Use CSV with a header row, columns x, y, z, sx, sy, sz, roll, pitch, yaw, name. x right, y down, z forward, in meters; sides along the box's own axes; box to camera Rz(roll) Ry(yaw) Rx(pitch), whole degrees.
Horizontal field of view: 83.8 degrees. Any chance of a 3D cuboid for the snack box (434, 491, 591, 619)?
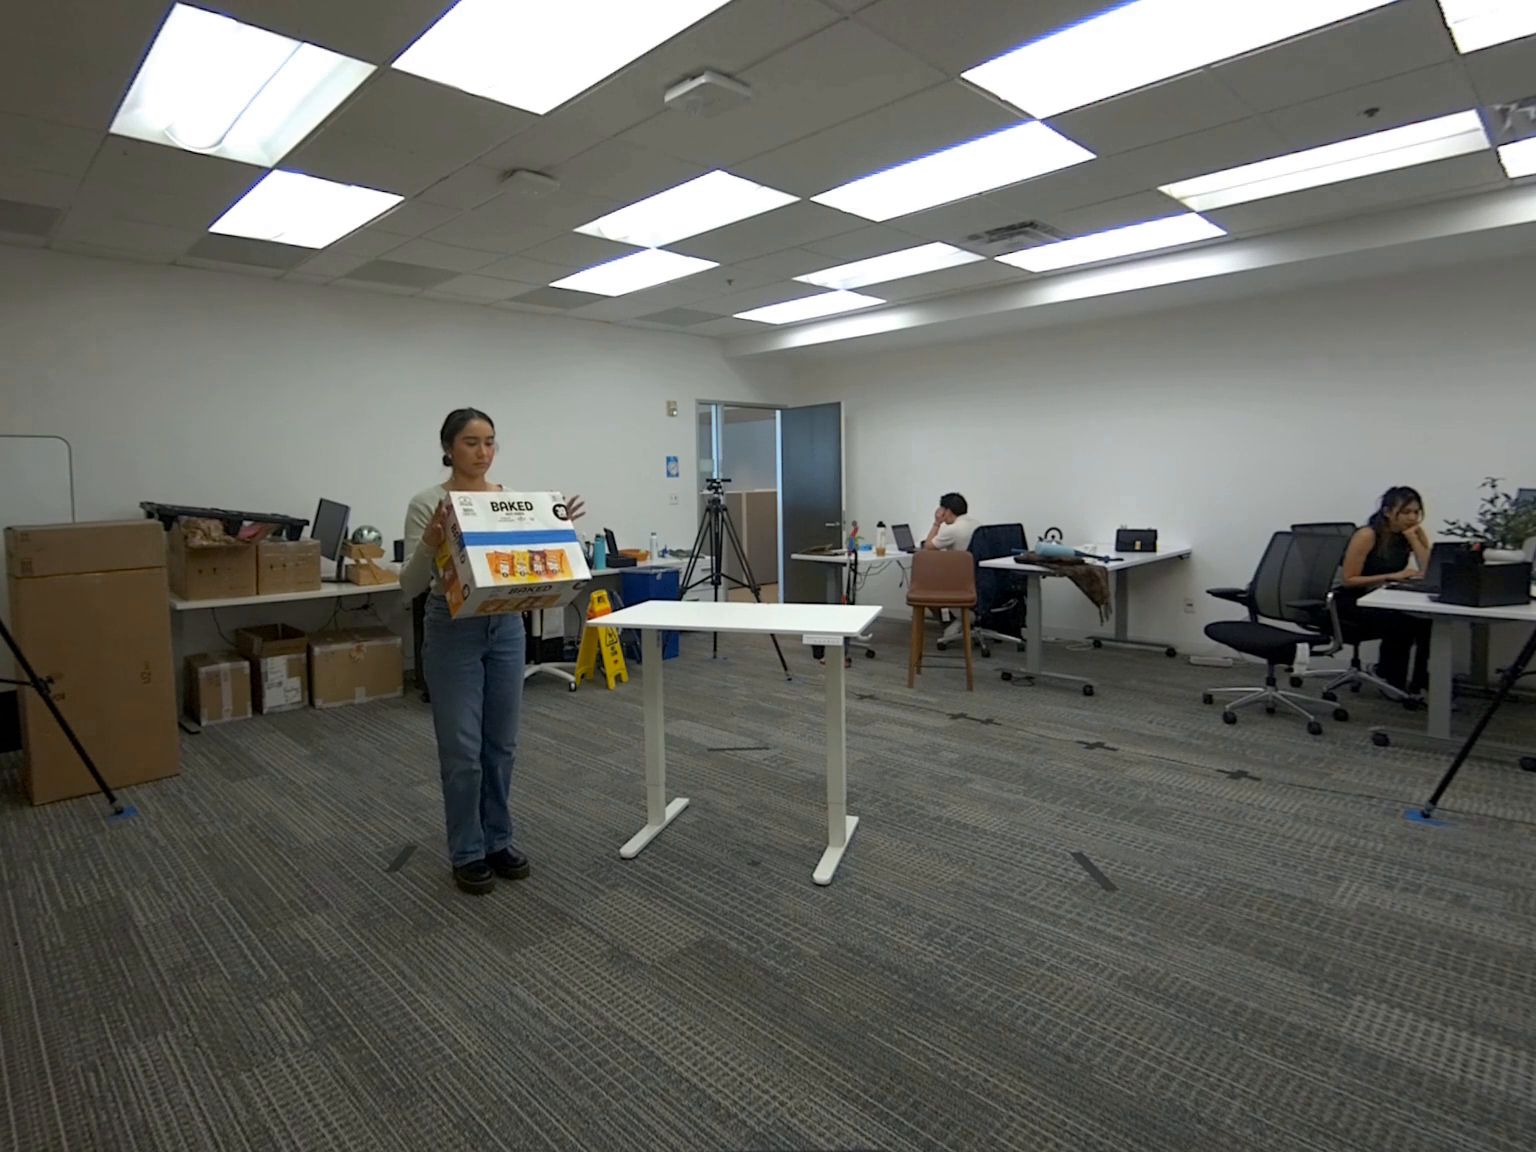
x,y,z,sx,sy,sz,roll,pitch,yaw,name
-0.835,-0.074,2.762,0.394,0.349,0.206,-4,-29,-43,snack box
